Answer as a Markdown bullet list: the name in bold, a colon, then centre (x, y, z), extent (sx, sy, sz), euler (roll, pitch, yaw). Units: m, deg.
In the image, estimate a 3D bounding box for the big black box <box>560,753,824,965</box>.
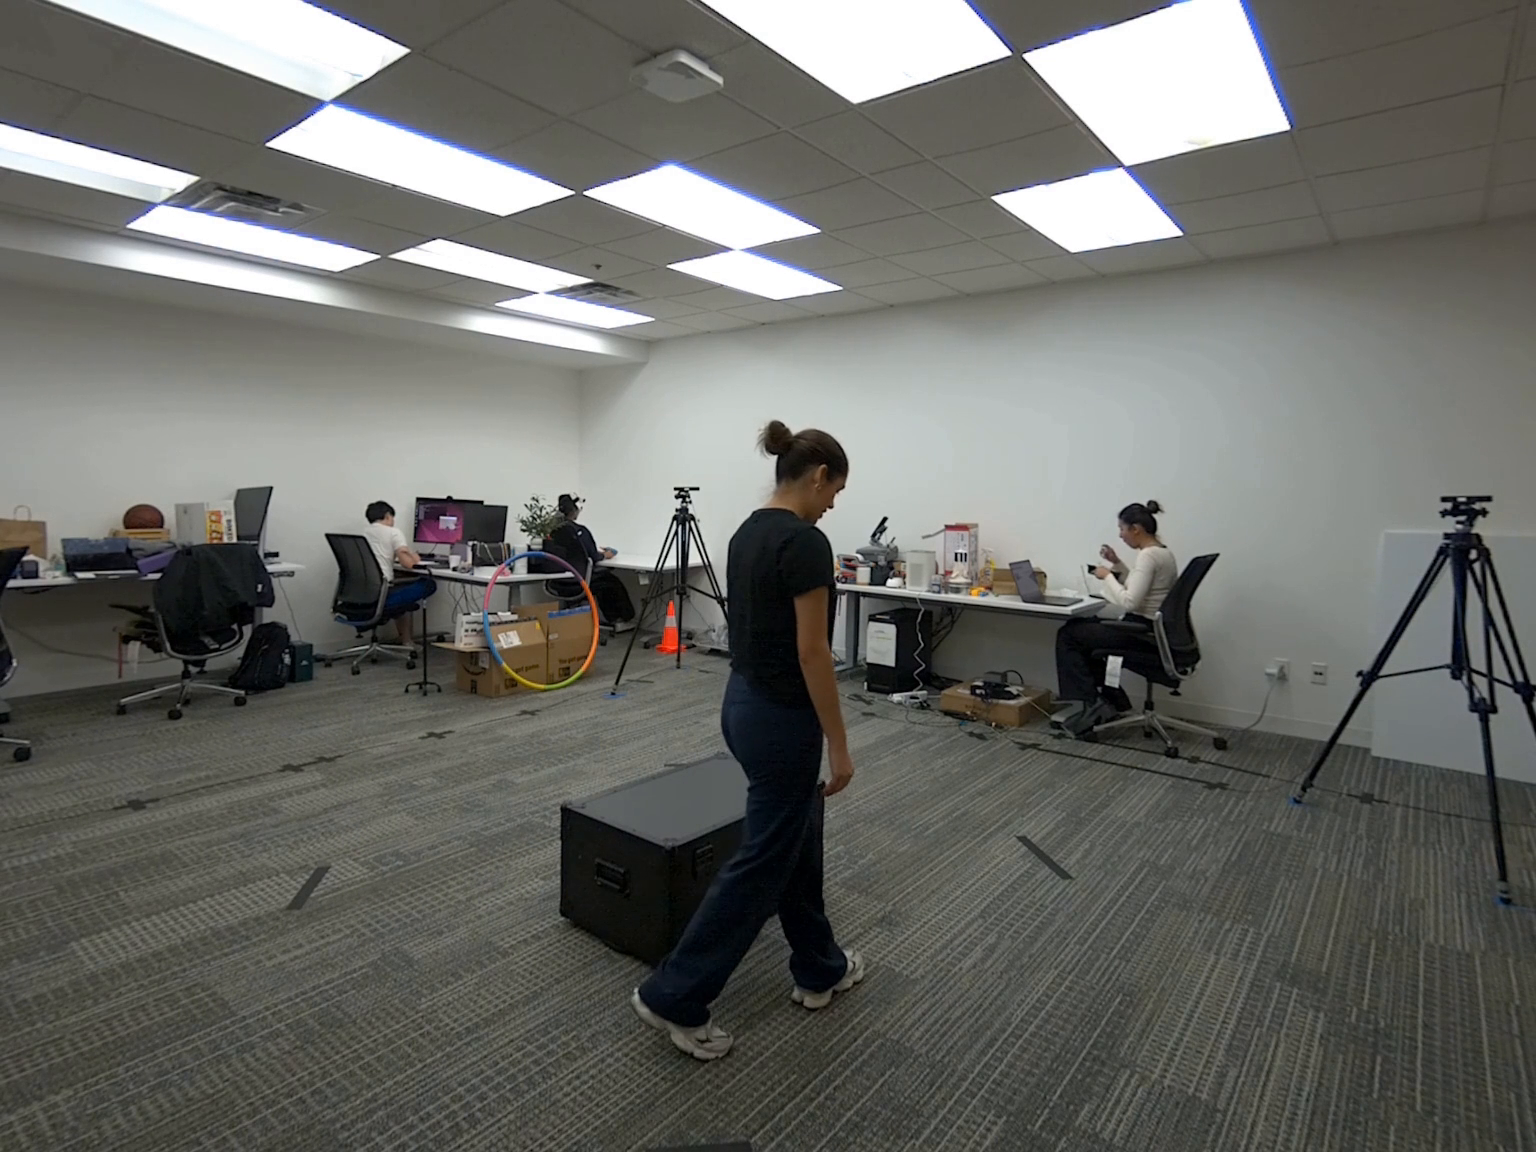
- **big black box**: centre (-0.203, 0.899, 2.865), extent (0.539, 0.394, 0.837), euler (5, 7, 39)
